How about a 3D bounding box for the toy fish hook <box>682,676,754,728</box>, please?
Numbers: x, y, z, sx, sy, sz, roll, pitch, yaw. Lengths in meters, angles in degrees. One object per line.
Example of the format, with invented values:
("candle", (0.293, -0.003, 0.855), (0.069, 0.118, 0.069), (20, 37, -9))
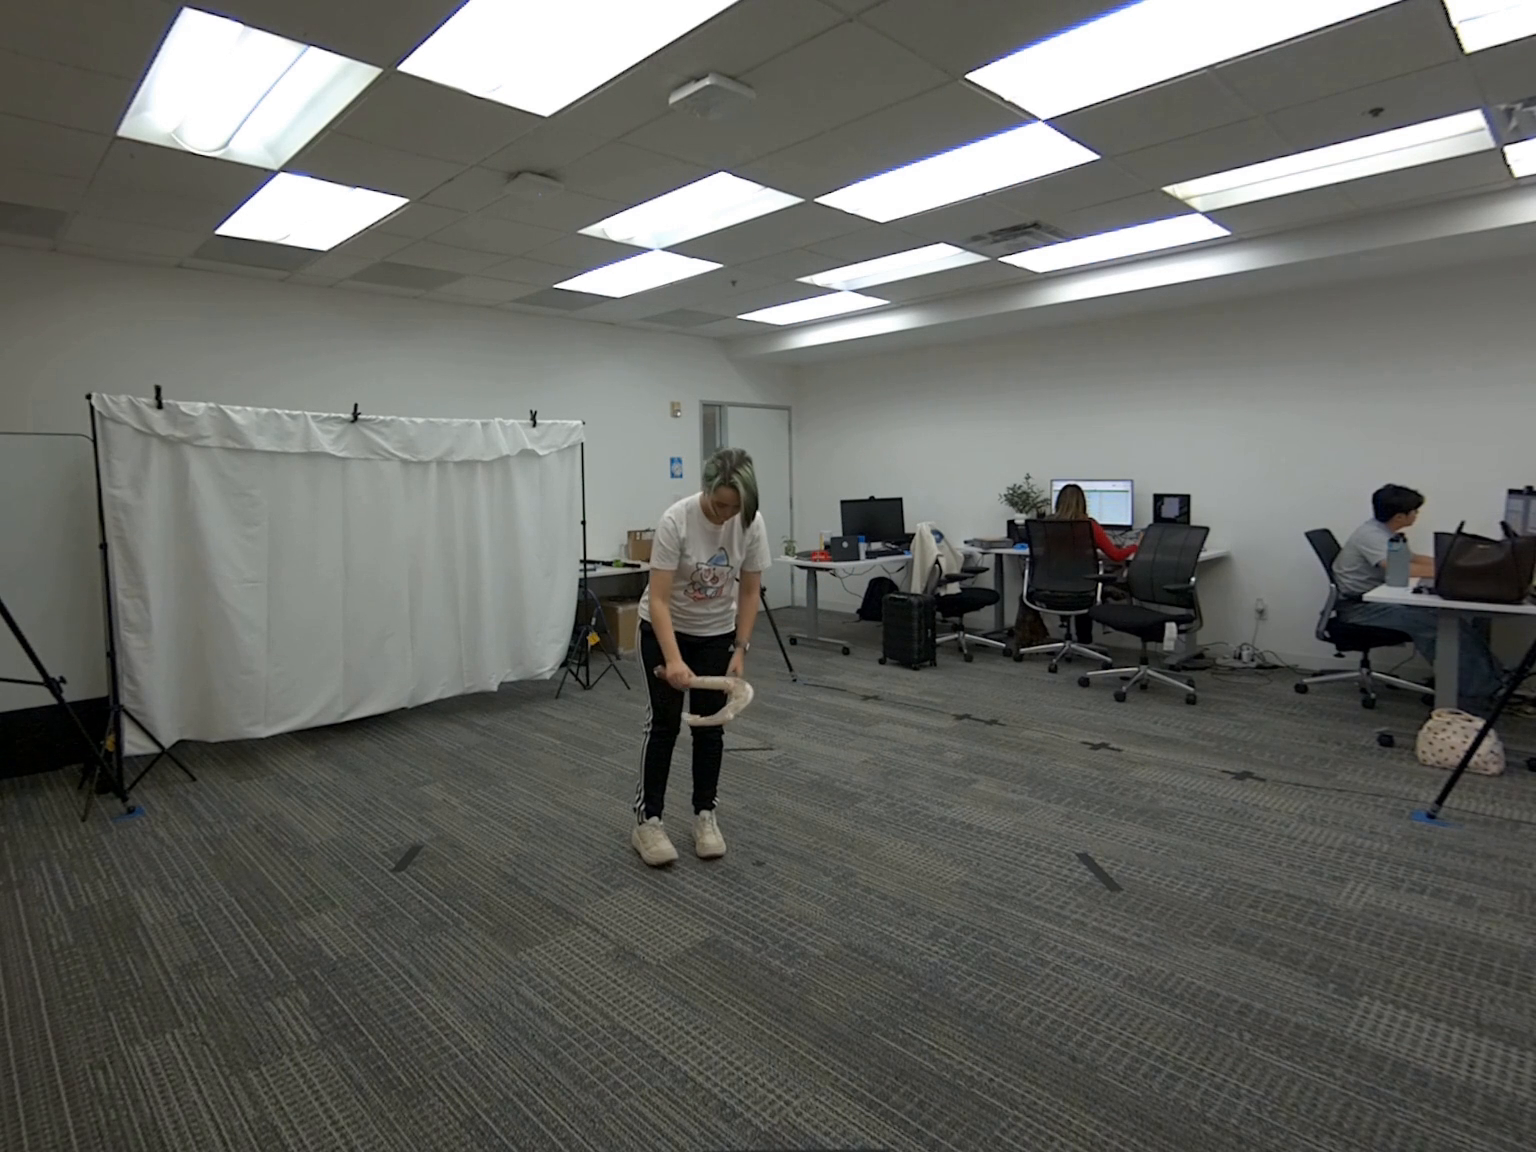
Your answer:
("toy fish hook", (-0.266, 0.390, 2.806), (0.222, 0.047, 0.522), (-33, 24, -33))
